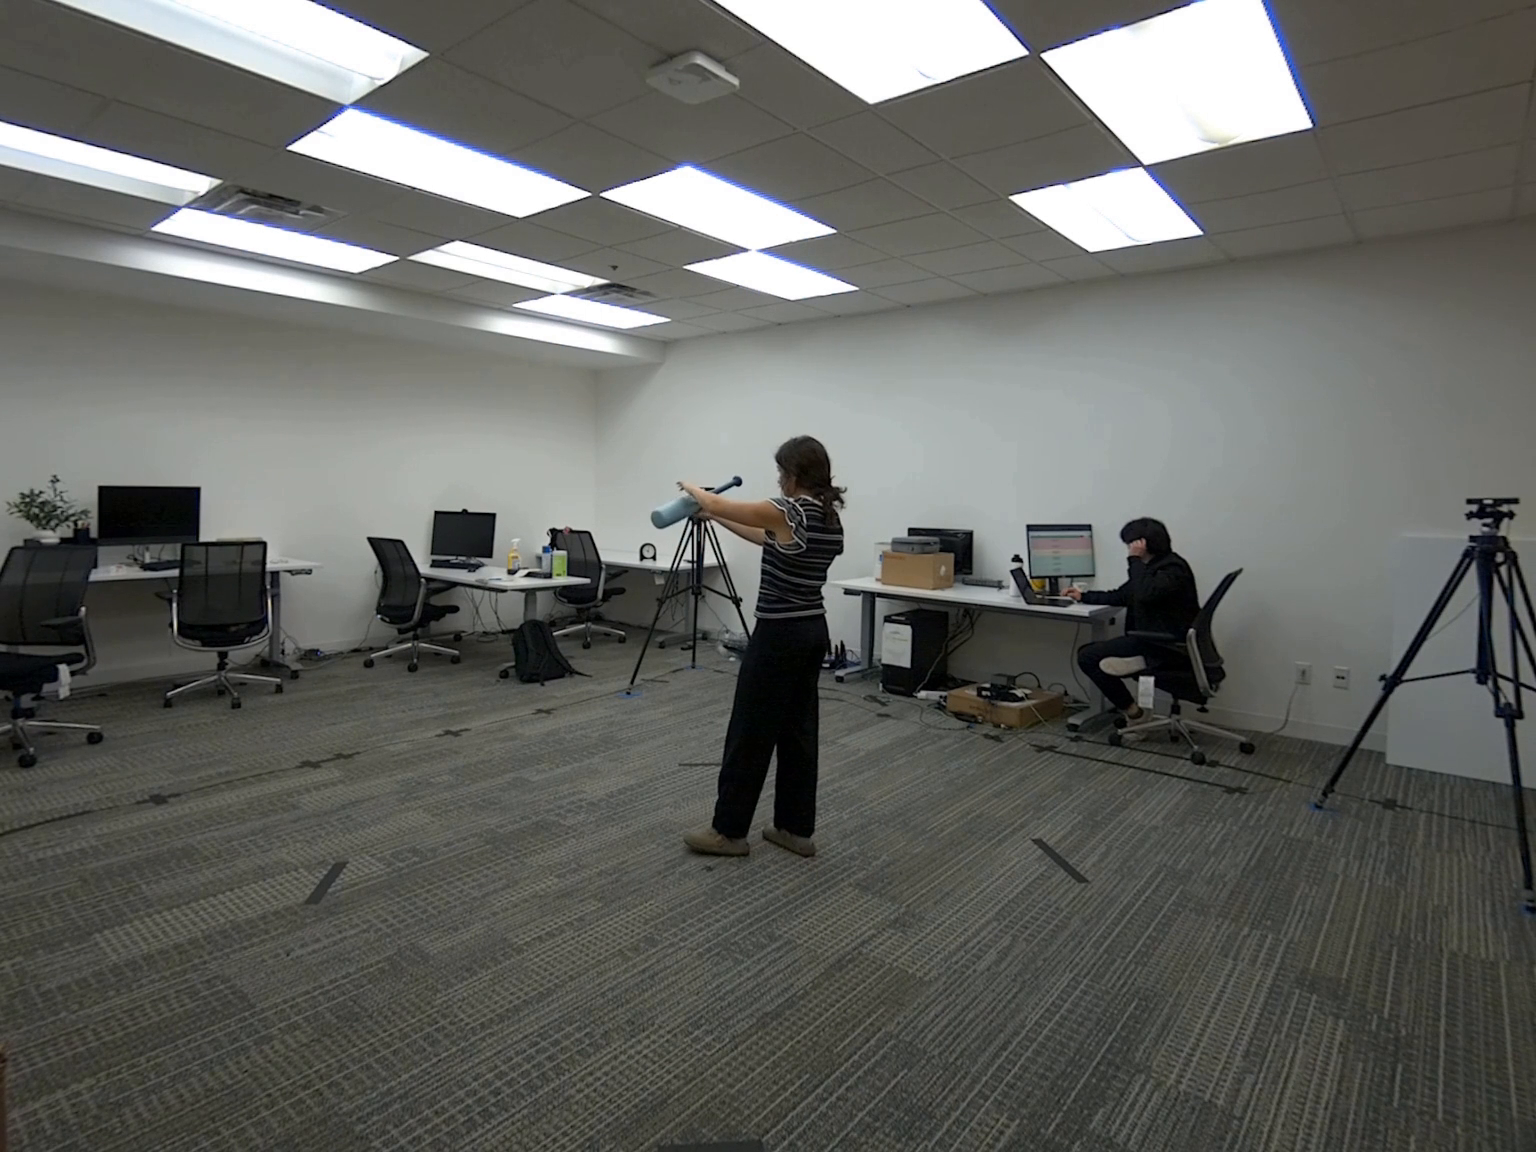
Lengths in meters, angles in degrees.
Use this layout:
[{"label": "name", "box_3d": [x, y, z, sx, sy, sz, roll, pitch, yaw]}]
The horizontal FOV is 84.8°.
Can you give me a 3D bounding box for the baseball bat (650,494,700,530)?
[{"label": "baseball bat", "box_3d": [-0.302, -0.328, 3.631, 0.092, 0.087, 0.536, 4, 26, 39]}]
